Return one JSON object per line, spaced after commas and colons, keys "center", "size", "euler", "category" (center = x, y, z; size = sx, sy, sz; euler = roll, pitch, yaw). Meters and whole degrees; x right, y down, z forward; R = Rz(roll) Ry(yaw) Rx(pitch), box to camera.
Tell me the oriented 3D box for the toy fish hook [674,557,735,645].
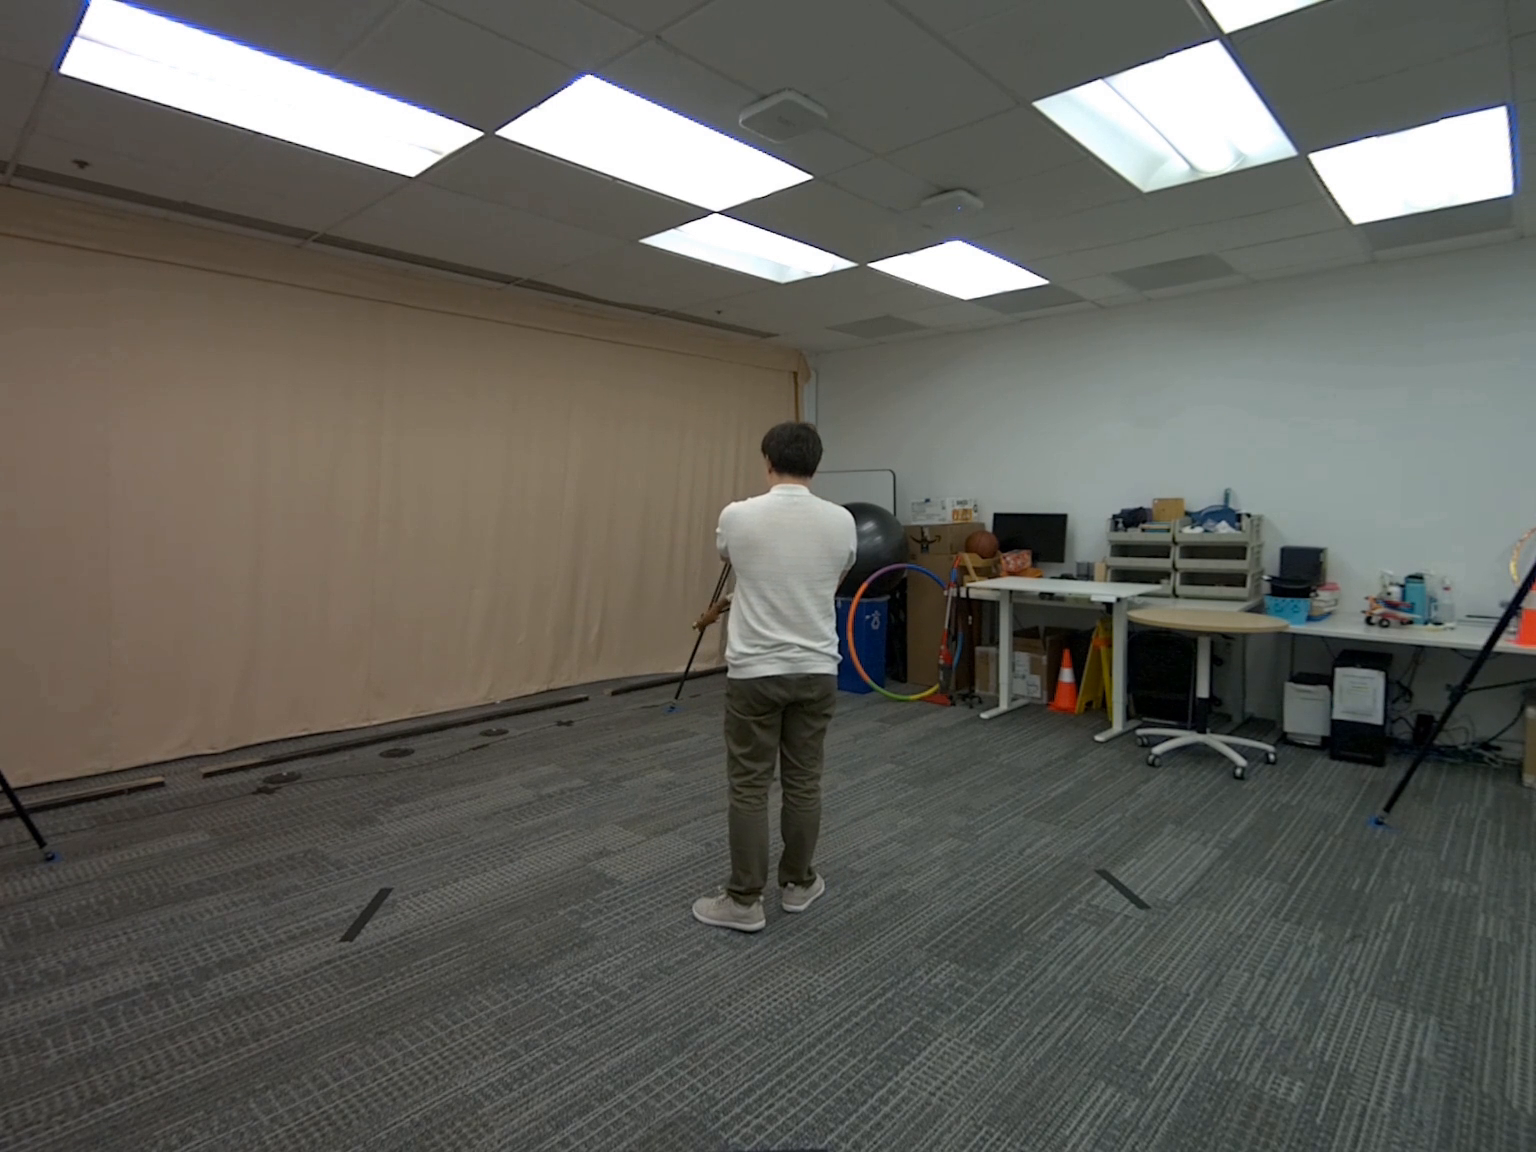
{"center": [-0.130, 0.022, 3.320], "size": [0.510, 0.230, 0.047], "euler": [-41, -26, 19], "category": "toy fish hook"}
